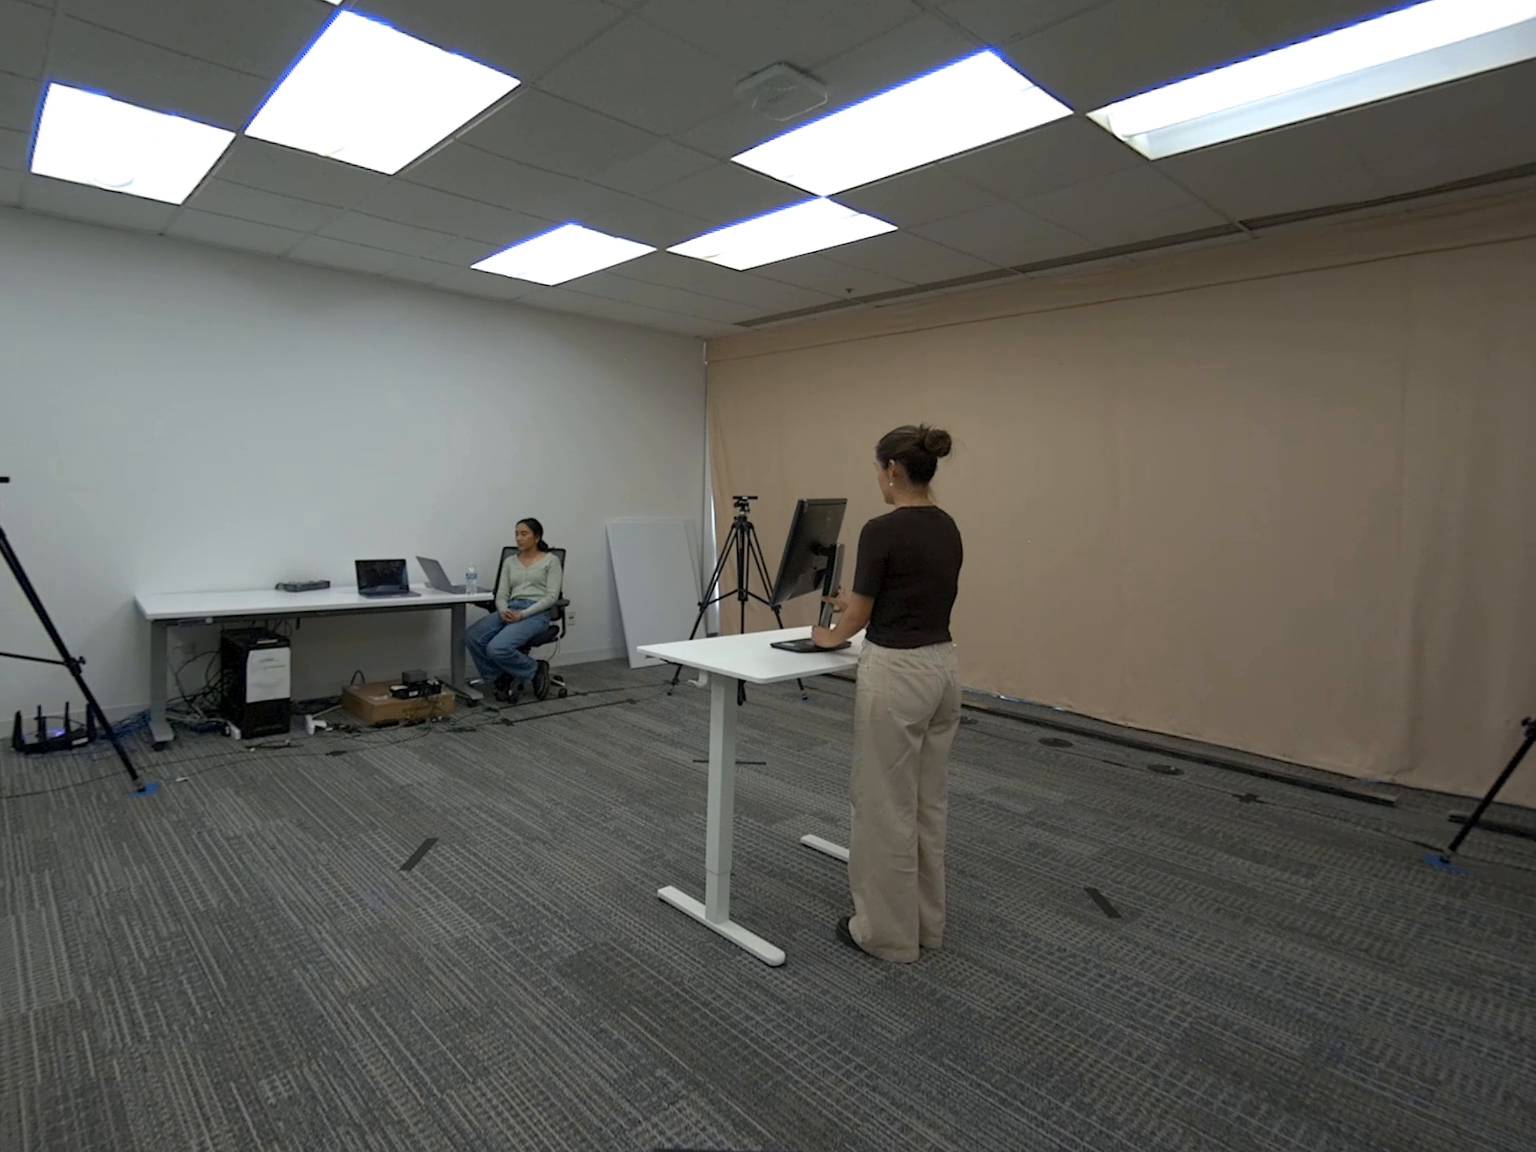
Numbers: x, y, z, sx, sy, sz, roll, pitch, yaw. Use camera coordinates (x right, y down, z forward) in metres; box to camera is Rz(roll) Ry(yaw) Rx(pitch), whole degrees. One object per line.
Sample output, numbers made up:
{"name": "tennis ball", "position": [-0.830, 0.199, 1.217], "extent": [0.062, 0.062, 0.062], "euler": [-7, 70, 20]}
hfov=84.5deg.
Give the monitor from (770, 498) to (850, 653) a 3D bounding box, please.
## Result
{"name": "monitor", "position": [0.164, -0.006, 2.889], "extent": [0.190, 0.520, 0.533], "euler": [4, 6, 18]}
